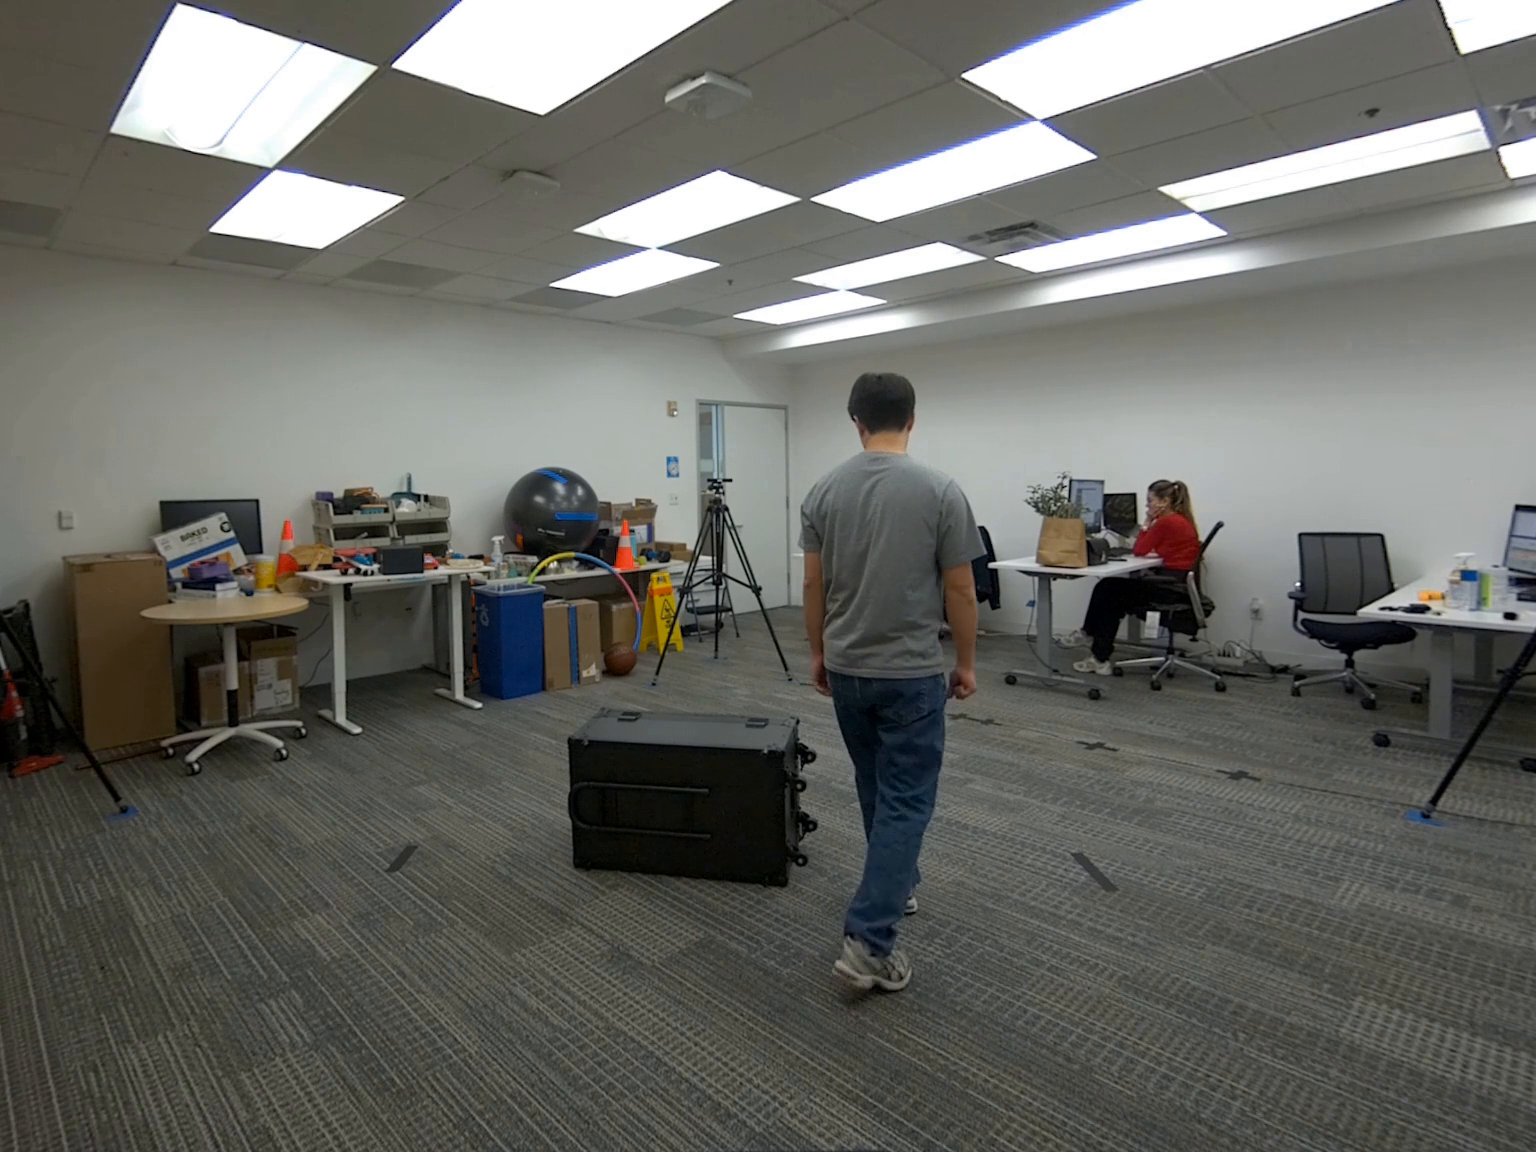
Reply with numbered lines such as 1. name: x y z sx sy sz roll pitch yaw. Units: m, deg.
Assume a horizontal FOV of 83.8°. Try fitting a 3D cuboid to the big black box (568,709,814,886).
1. big black box: -0.323 0.792 3.150 0.873 0.518 0.393 0 6 13
